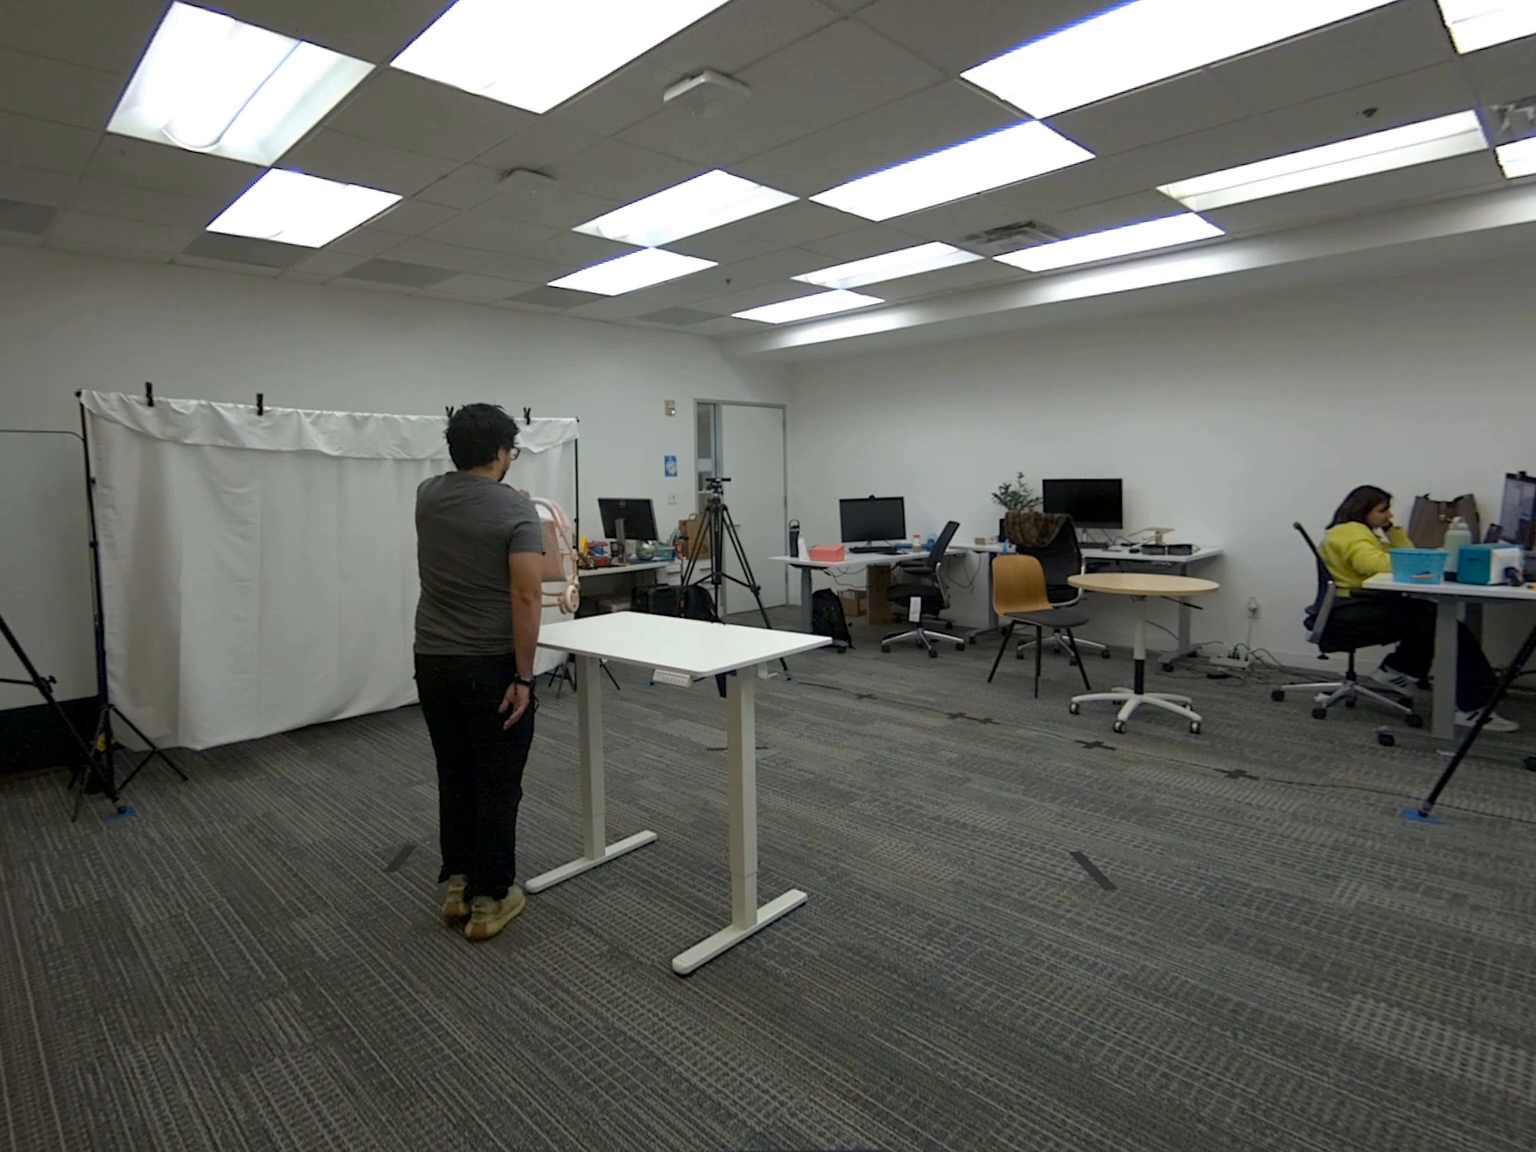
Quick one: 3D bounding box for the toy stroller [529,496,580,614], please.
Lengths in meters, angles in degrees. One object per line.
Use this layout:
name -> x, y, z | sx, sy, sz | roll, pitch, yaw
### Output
toy stroller -> -0.910, -0.068, 3.517 | 0.285, 0.530, 0.340 | -4, 9, 12
